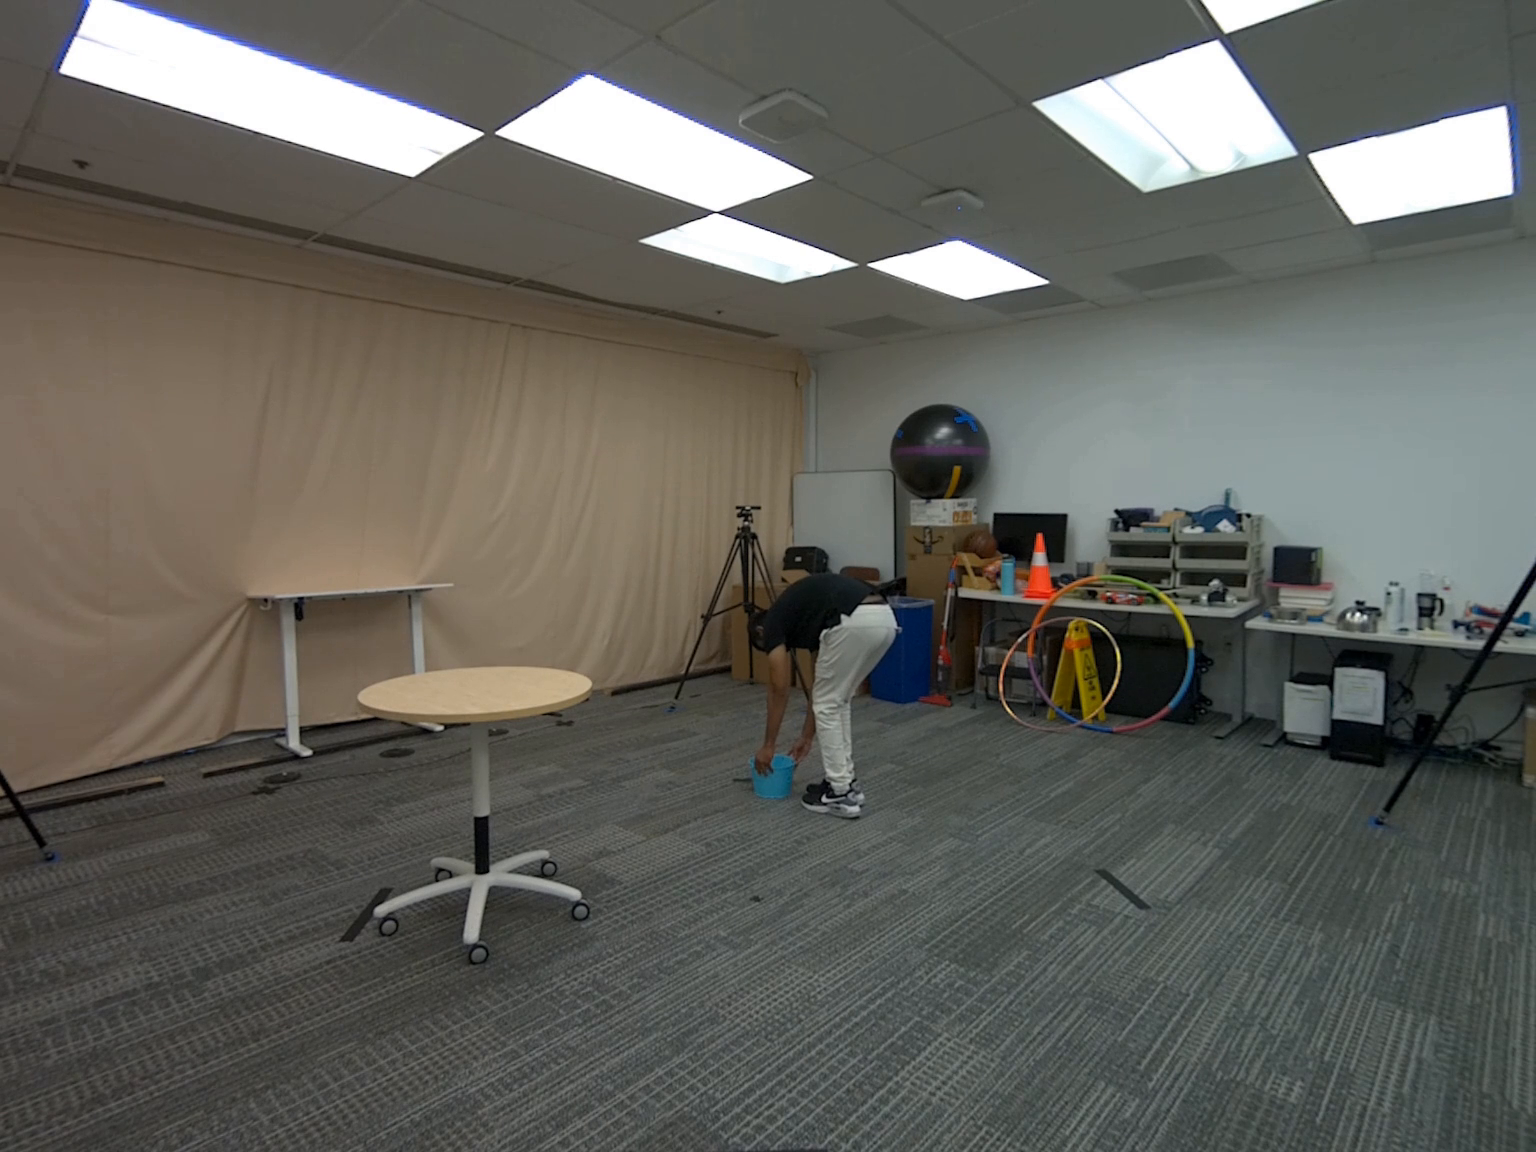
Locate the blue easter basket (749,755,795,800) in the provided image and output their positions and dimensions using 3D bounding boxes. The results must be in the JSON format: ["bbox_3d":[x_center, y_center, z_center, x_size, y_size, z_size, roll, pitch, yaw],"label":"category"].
[{"bbox_3d":[0.024,0.980,4.120,0.243,0.156,0.244,0,2,-2],"label":"blue easter basket"}]
